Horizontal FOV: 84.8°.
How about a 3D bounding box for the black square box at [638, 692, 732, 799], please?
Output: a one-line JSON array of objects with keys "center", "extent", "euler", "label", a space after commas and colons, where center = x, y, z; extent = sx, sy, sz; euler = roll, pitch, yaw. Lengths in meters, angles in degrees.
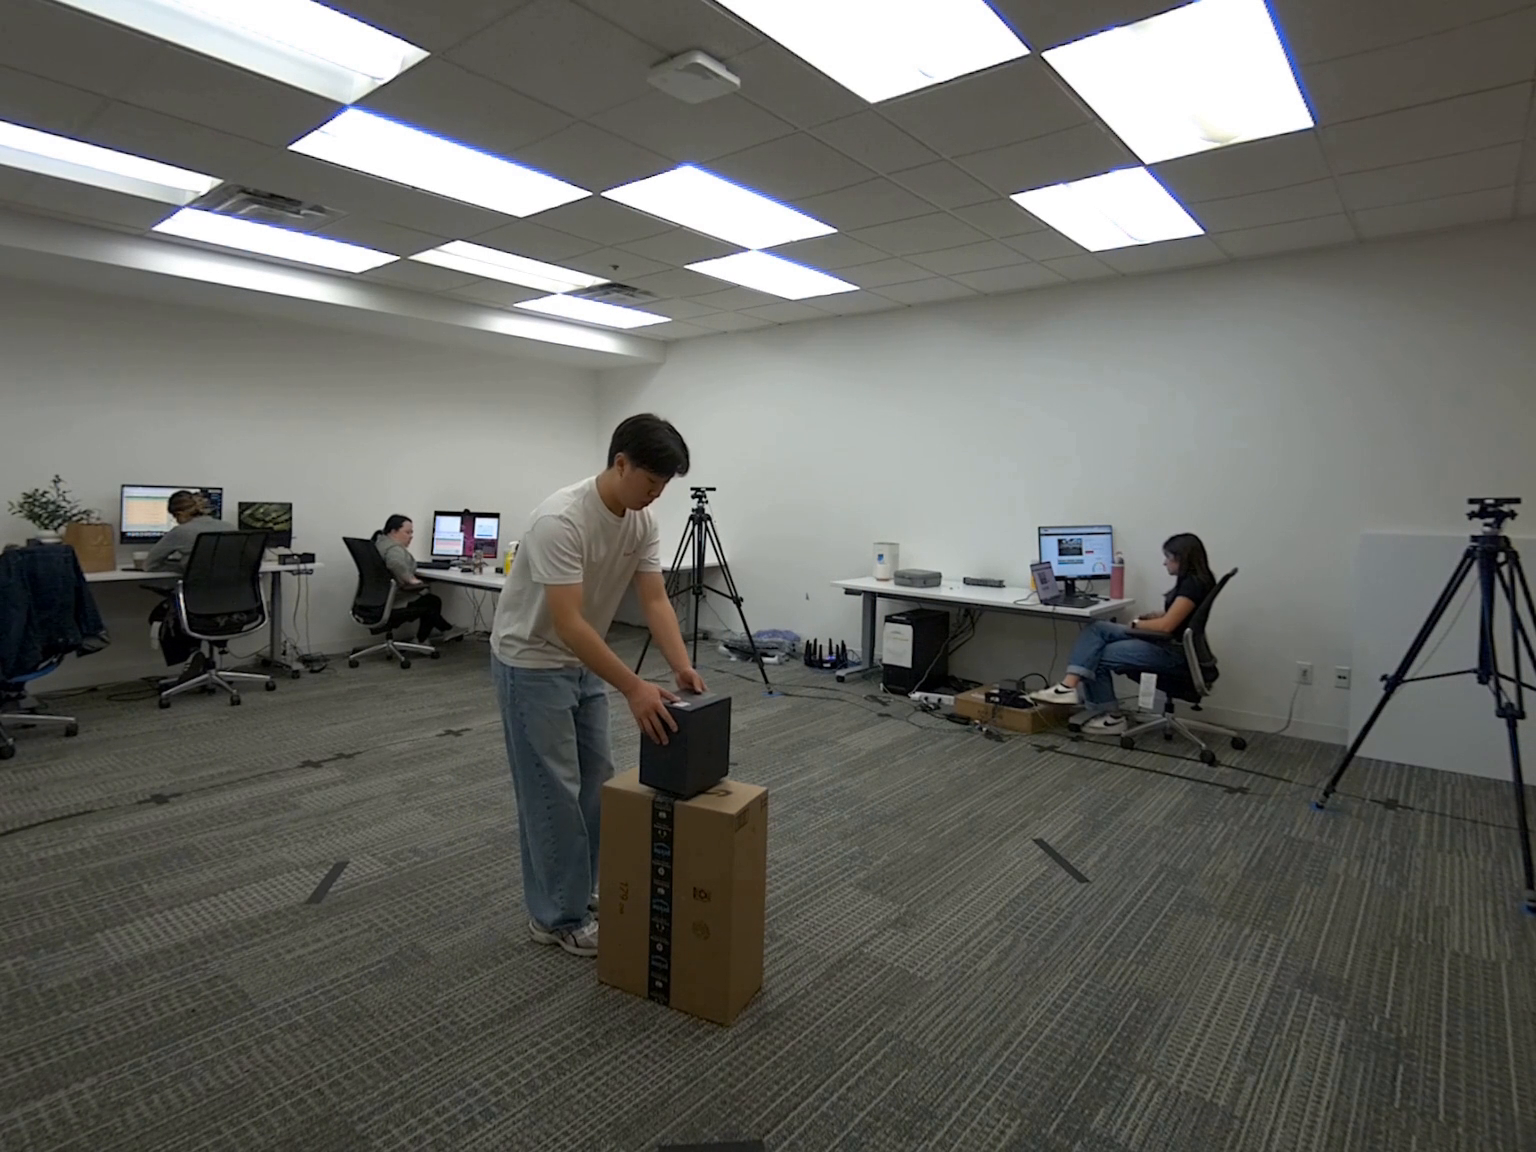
[{"center": [-0.237, 0.442, 2.351], "extent": [0.160, 0.227, 0.211], "euler": [2, 6, 31], "label": "black square box"}]
